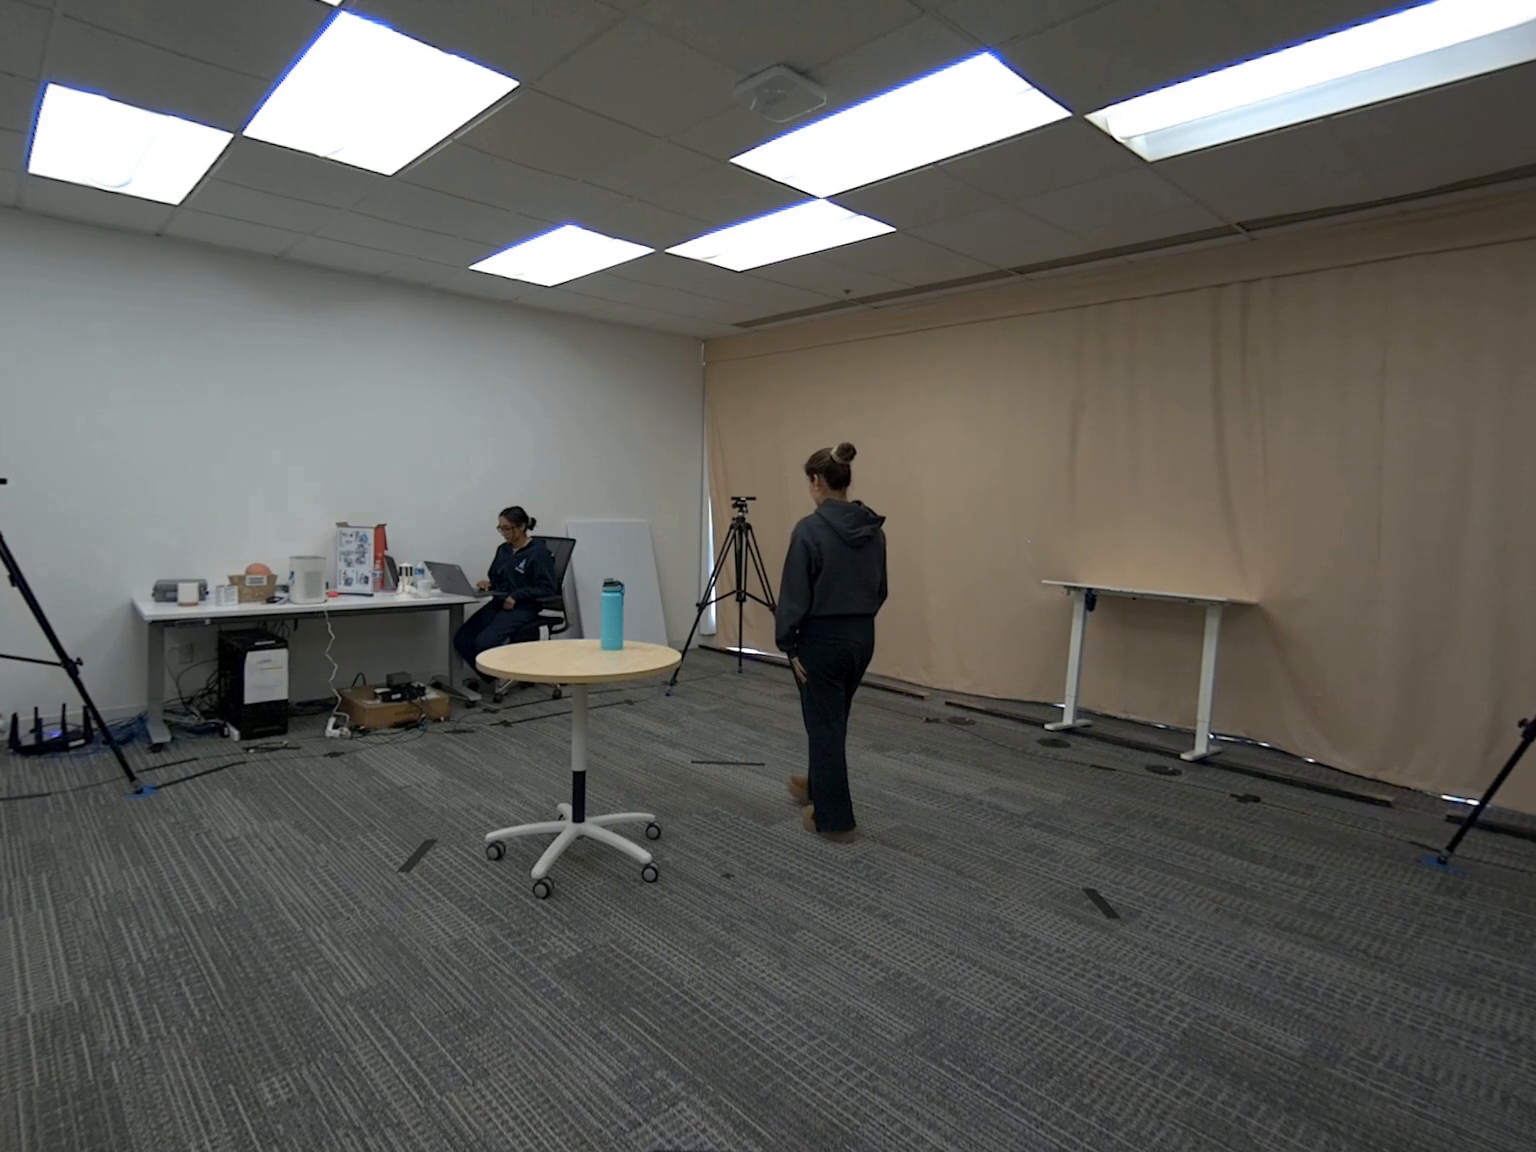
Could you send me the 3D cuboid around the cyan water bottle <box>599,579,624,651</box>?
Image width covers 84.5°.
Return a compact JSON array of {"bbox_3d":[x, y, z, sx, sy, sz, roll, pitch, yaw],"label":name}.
[{"bbox_3d":[-0.629,0.150,3.361,0.092,0.283,0.092,2,2,-1],"label":"cyan water bottle"}]
